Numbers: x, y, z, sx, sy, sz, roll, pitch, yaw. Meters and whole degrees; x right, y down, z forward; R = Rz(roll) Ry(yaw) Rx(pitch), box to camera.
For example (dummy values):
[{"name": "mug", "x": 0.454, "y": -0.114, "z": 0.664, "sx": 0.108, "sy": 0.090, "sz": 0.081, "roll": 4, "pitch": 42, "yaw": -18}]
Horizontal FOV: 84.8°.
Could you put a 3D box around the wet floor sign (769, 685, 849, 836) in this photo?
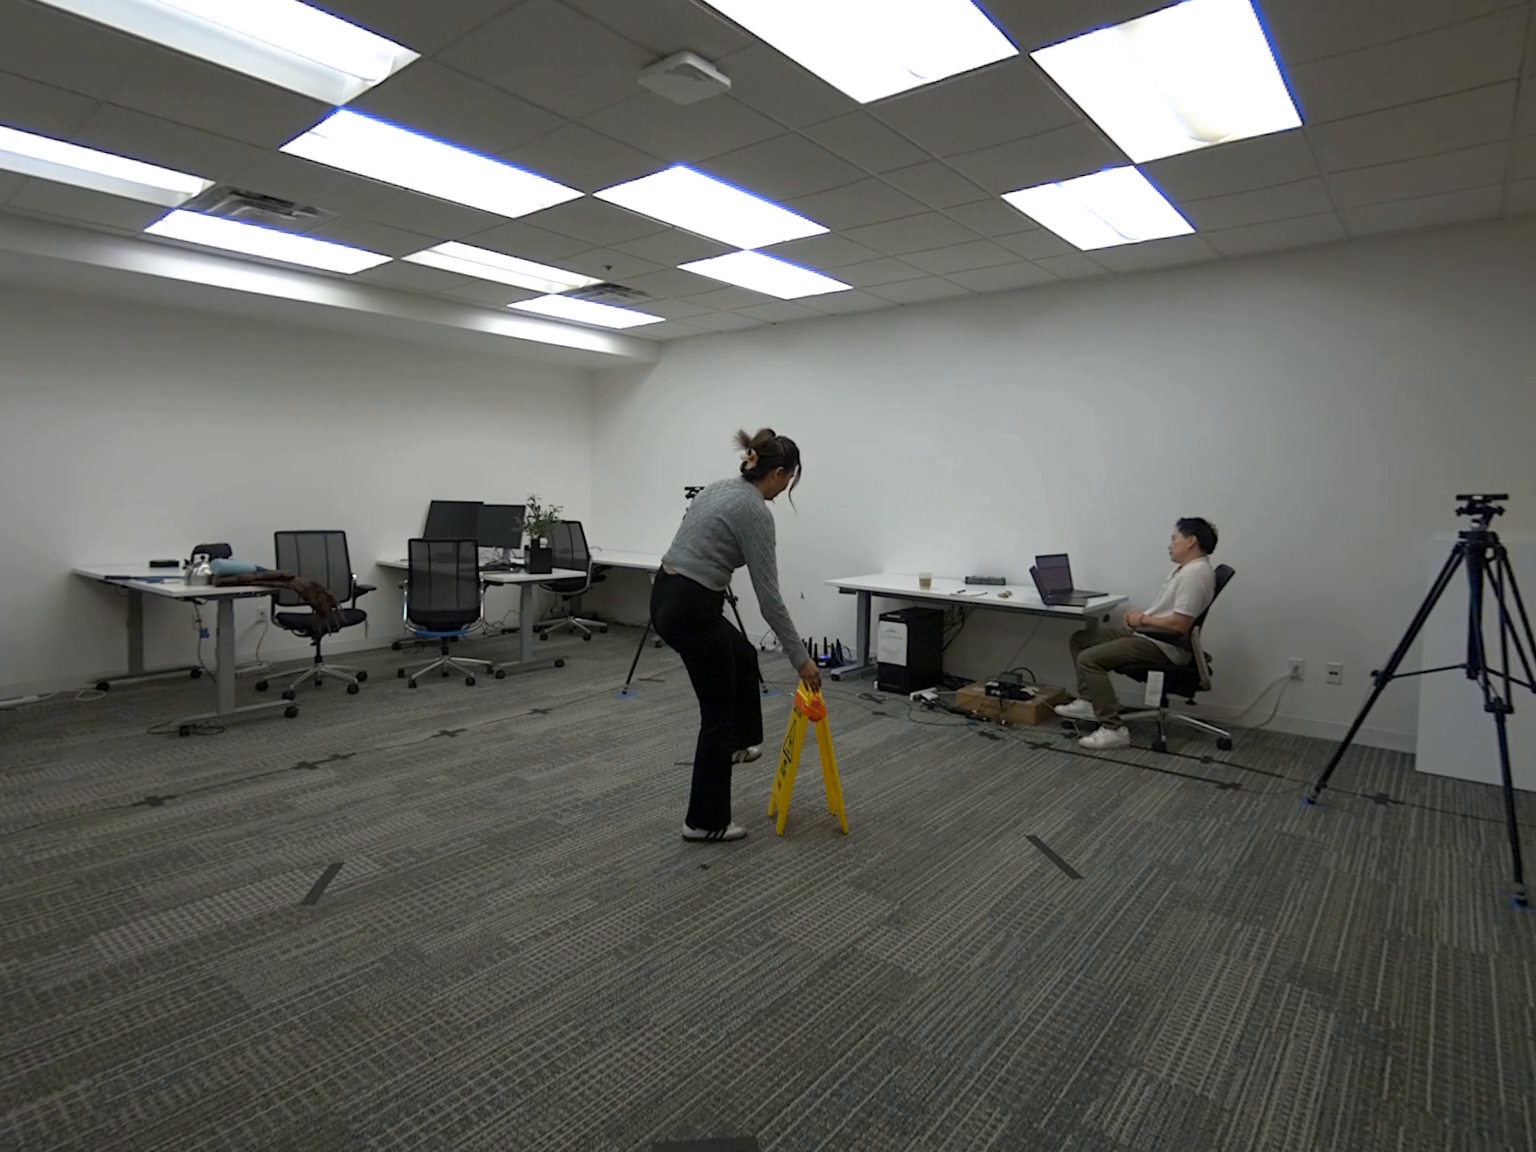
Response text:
[{"name": "wet floor sign", "x": 0.166, "y": 0.706, "z": 3.541, "sx": 0.287, "sy": 0.643, "sz": 0.286, "roll": 2, "pitch": 5, "yaw": -10}]
